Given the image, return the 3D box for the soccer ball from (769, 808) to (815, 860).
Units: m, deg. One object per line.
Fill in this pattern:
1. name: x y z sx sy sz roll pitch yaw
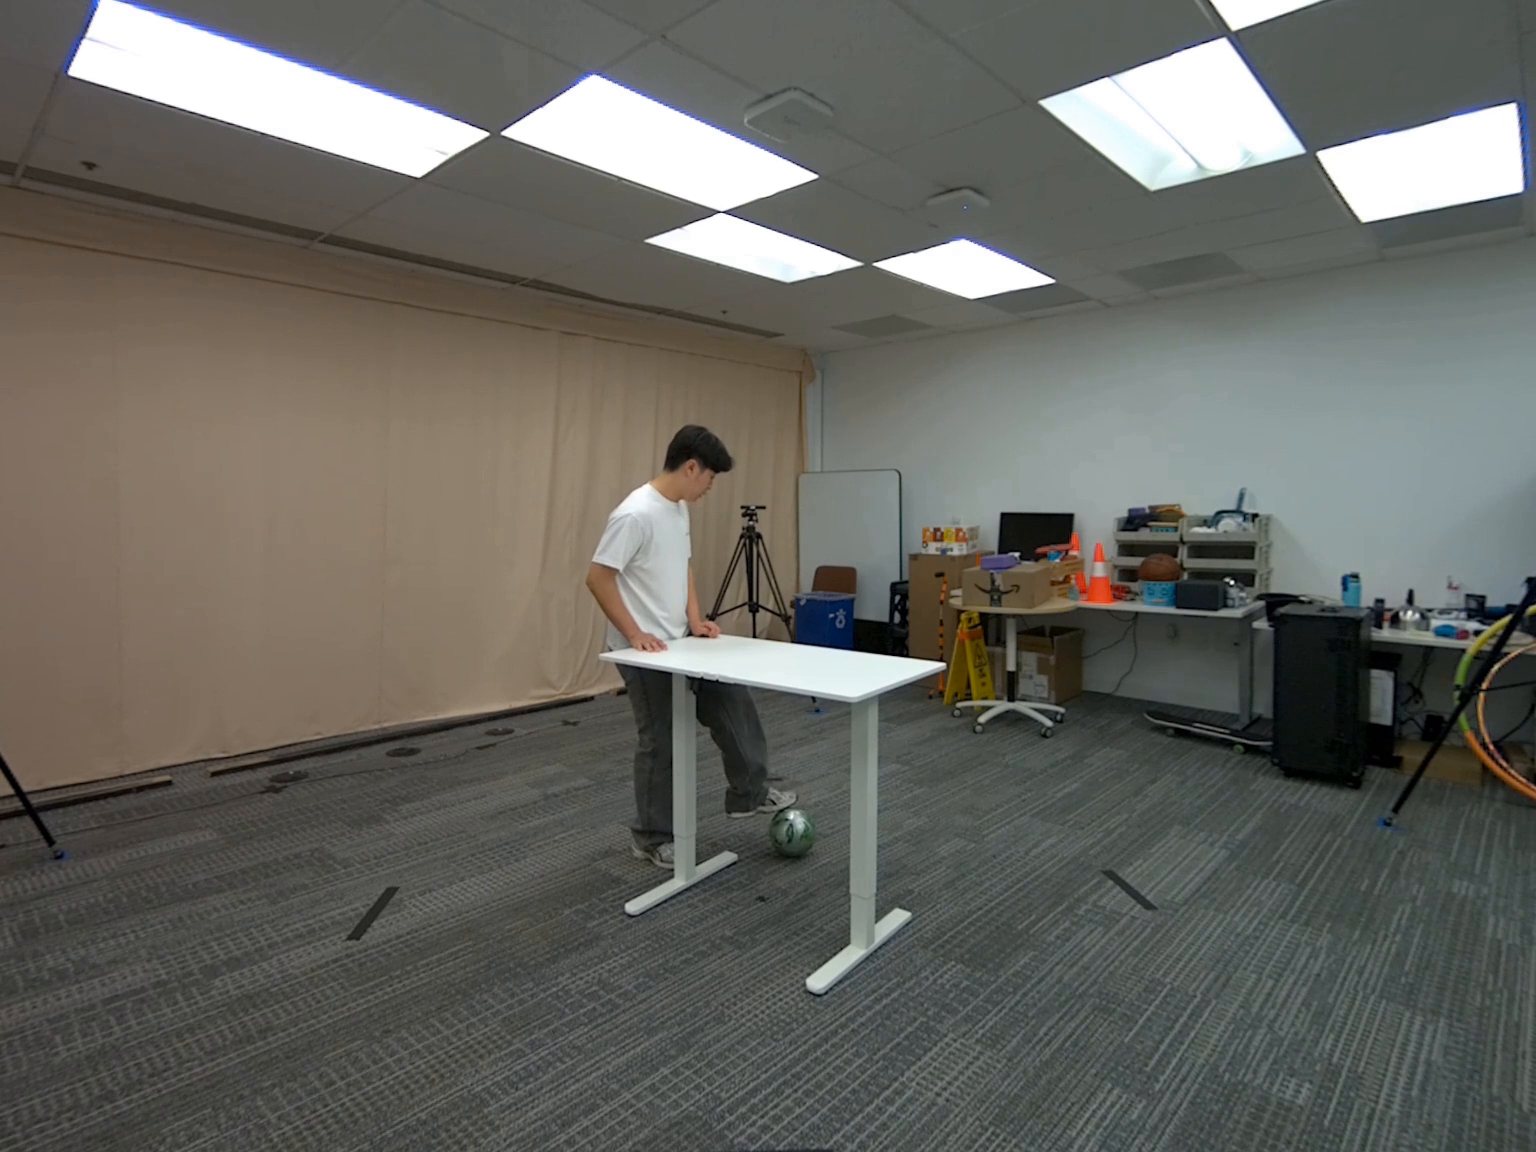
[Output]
1. soccer ball: 0.104 1.017 3.338 0.187 0.187 0.188 0 4 -2
